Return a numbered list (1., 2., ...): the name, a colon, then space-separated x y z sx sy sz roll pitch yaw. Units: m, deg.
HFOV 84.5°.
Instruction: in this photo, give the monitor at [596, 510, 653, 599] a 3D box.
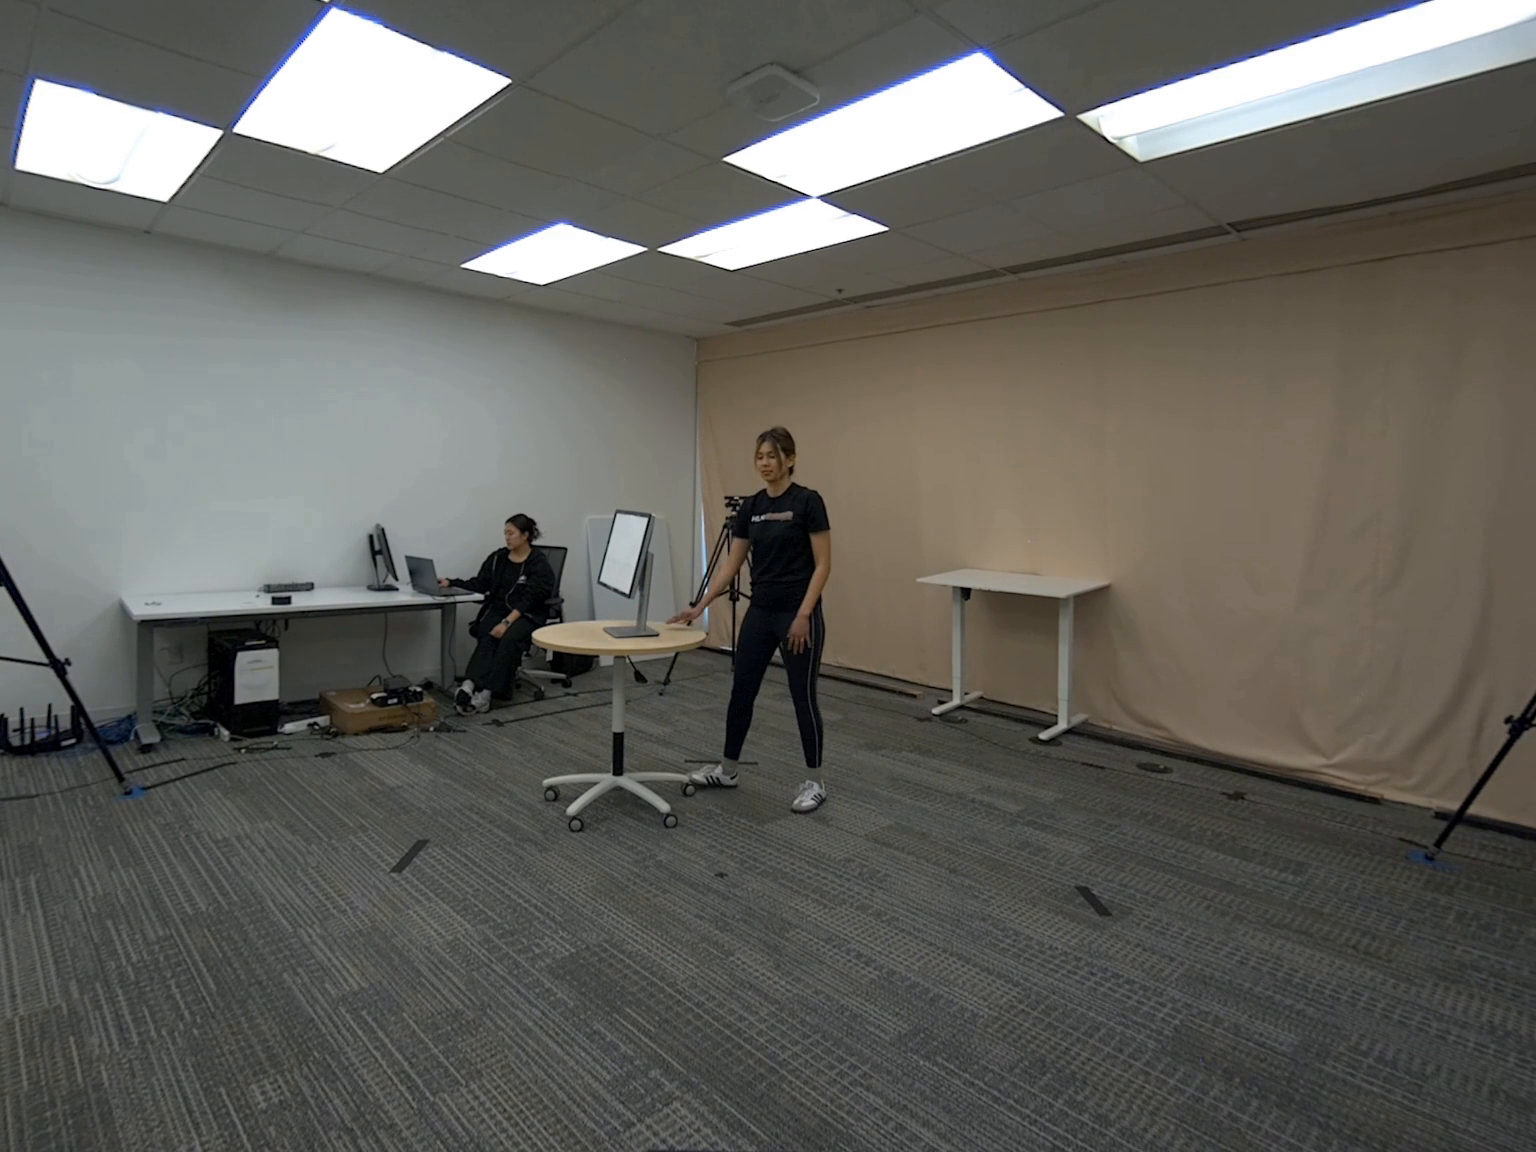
1. monitor: -0.610 -0.012 3.745 0.184 0.521 0.551 0 5 -26
